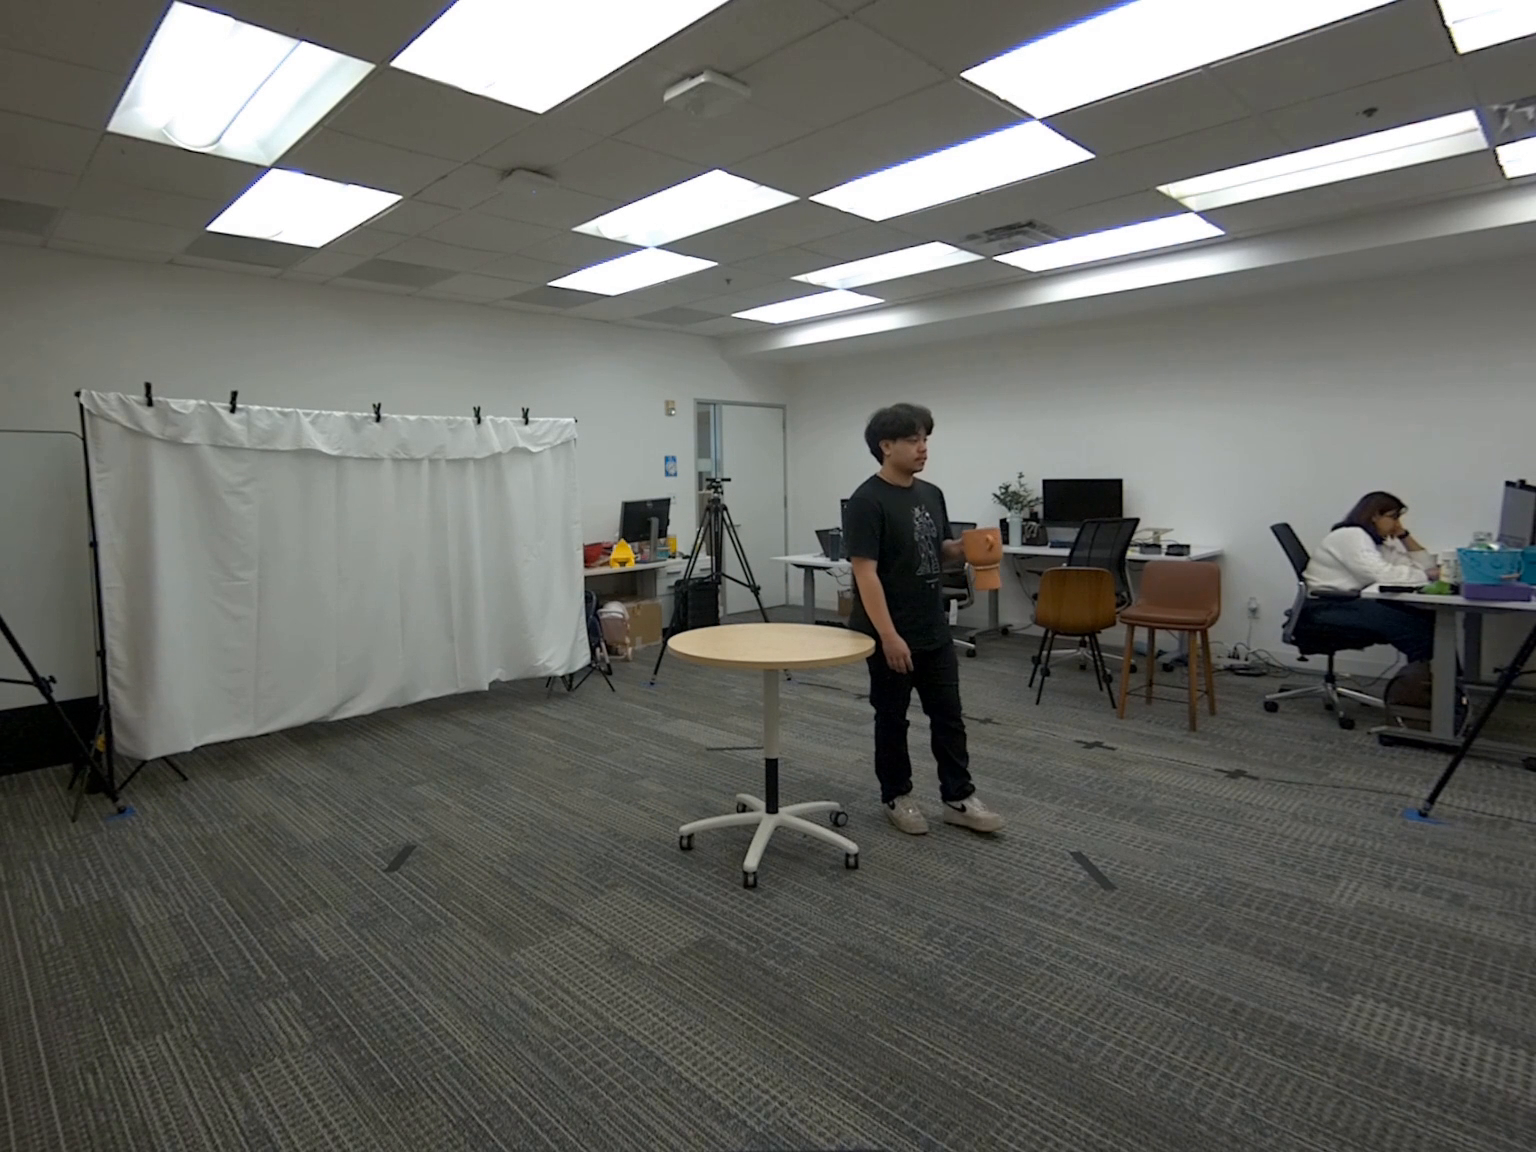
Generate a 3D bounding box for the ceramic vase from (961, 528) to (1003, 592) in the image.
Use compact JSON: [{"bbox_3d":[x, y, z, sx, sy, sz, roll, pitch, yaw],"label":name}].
[{"bbox_3d":[0.785,-0.056,3.127,0.138,0.220,0.154,-6,-2,37],"label":"ceramic vase"}]
